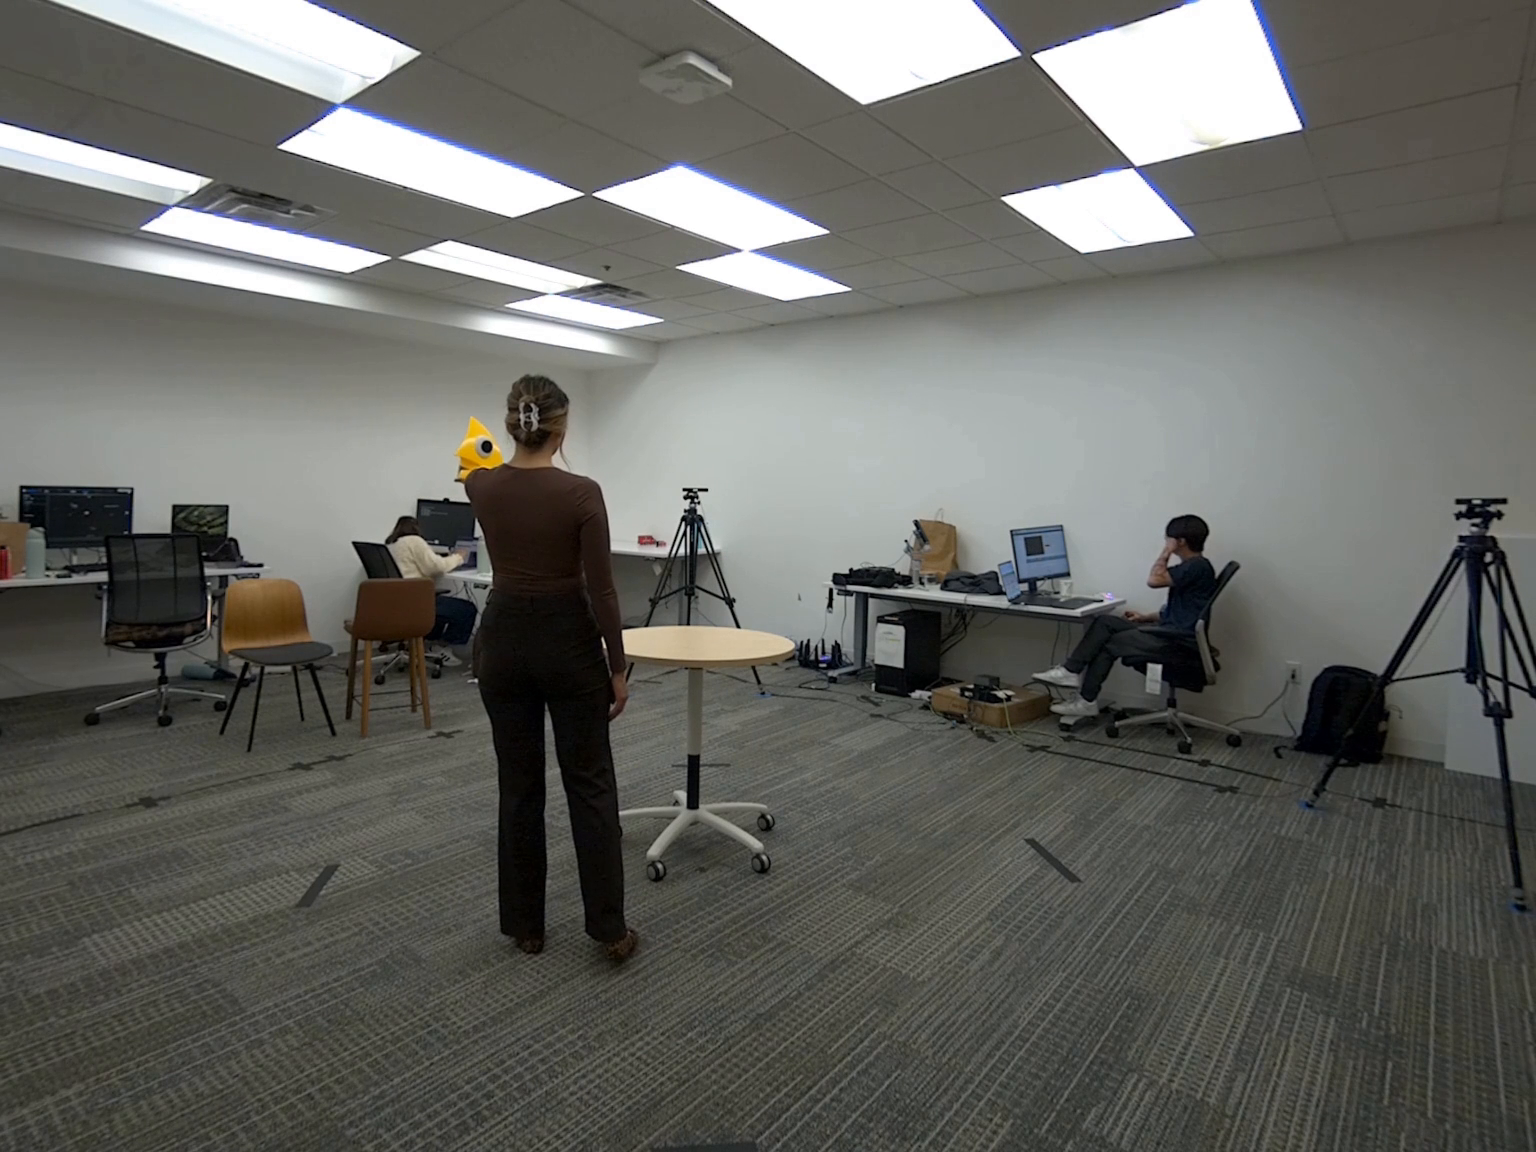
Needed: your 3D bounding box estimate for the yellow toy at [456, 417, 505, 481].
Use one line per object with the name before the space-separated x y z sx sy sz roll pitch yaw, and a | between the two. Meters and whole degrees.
yellow toy | -1.070 -0.467 3.142 0.189 0.230 0.209 9 3 -19
